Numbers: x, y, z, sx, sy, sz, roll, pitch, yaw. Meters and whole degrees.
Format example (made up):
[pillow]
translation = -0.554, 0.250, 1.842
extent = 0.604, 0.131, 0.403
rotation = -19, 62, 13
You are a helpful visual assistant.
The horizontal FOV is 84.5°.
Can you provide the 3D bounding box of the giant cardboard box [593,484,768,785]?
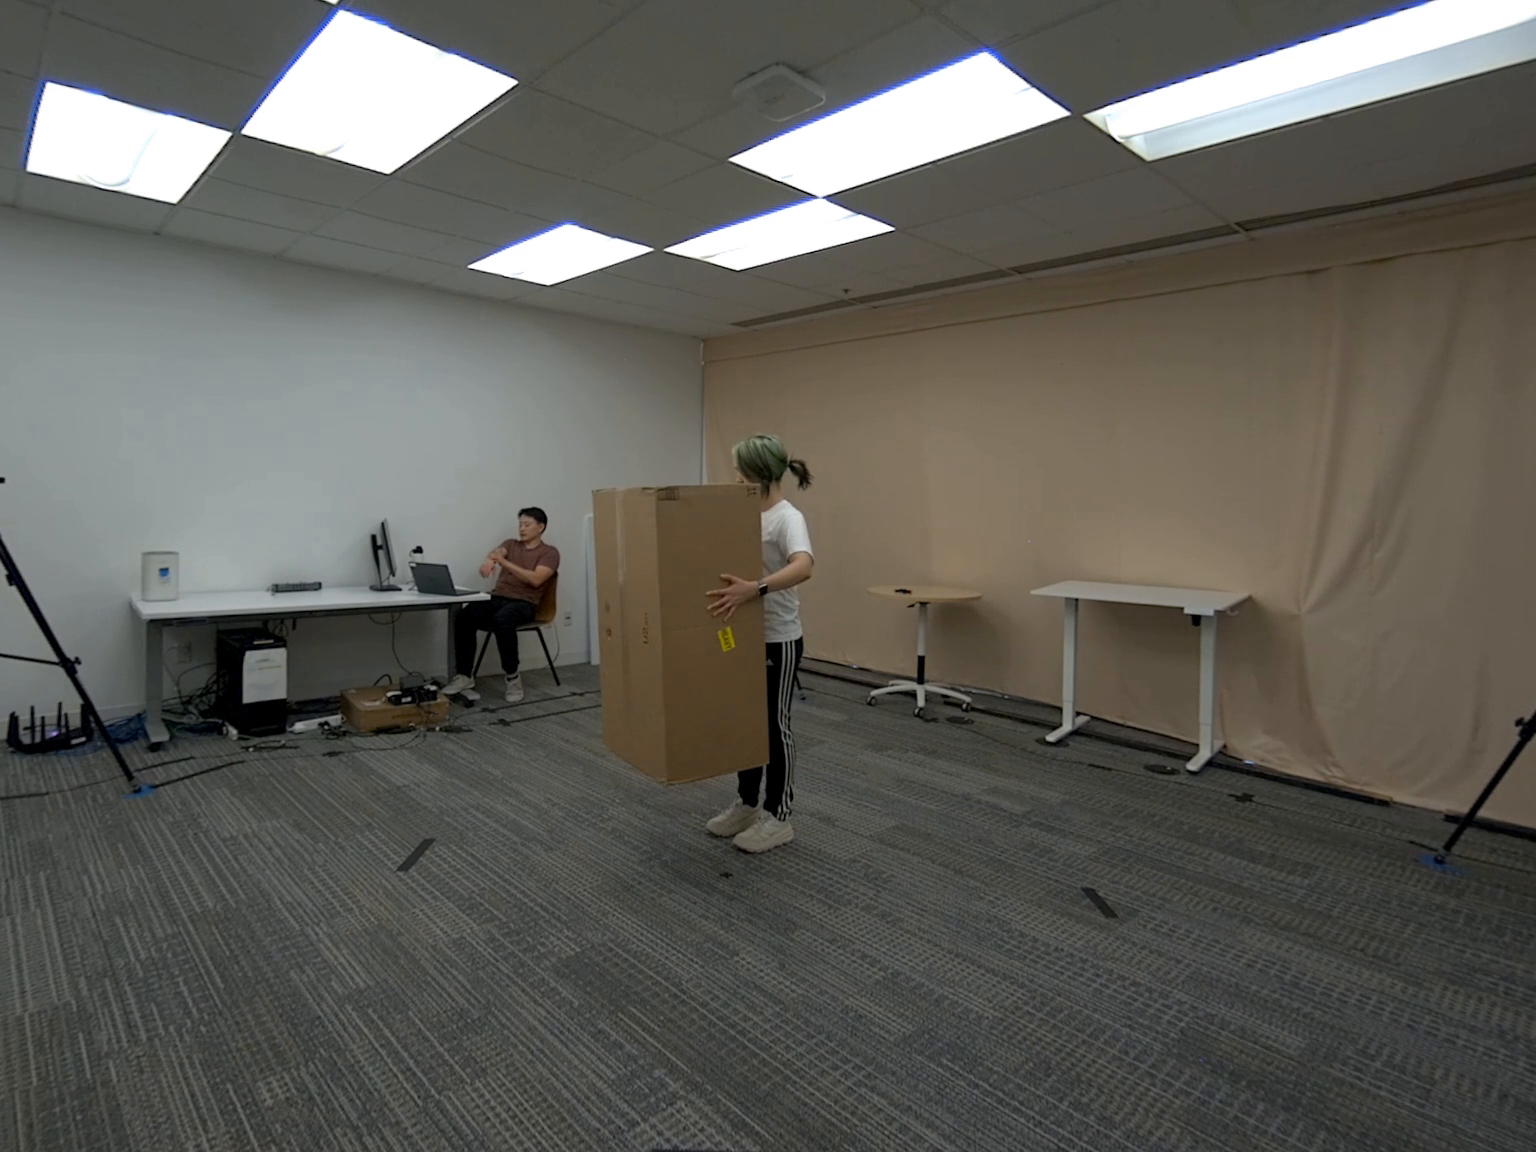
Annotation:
[giant cardboard box]
translation = -0.344, 0.177, 3.181
extent = 0.418, 1.023, 0.590
rotation = -4, 4, -32
